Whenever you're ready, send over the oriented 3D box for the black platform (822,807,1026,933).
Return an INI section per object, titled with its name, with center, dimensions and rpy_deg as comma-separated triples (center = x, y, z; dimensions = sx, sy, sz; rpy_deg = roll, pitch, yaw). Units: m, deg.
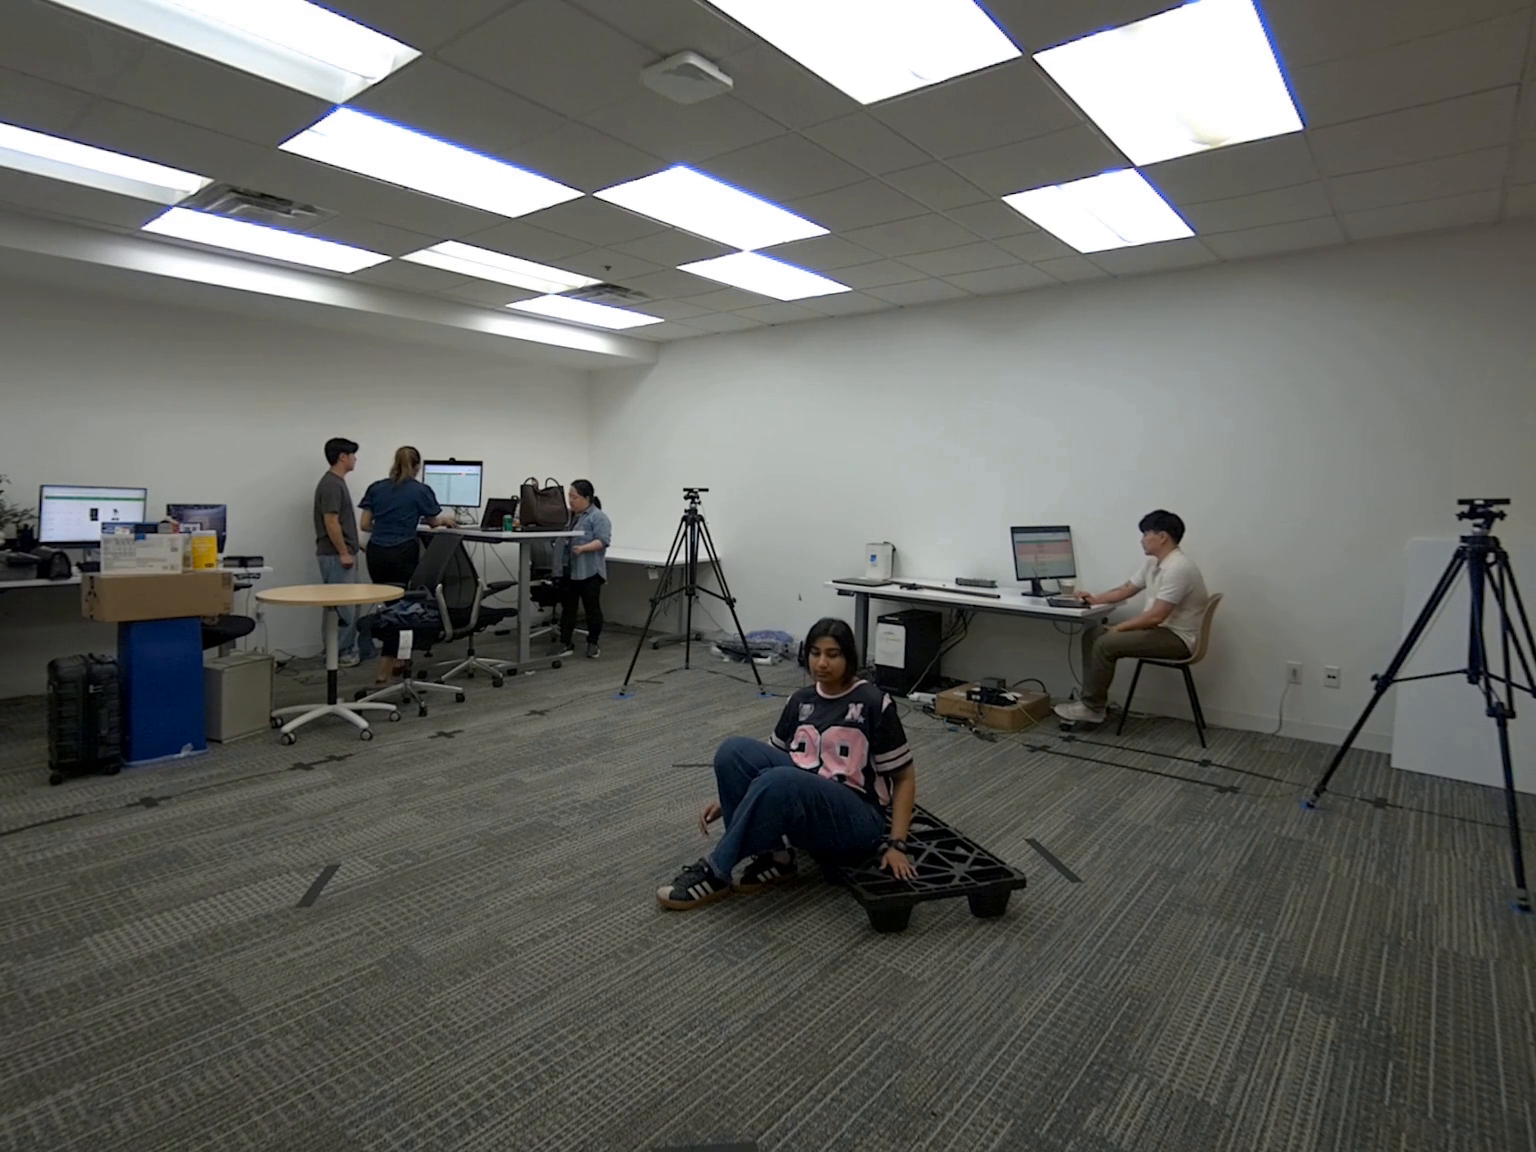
[black platform]
center = 0.432, 1.020, 3.085
dimensions = 0.594, 0.143, 0.824
rpy_deg = -1, 5, -20
